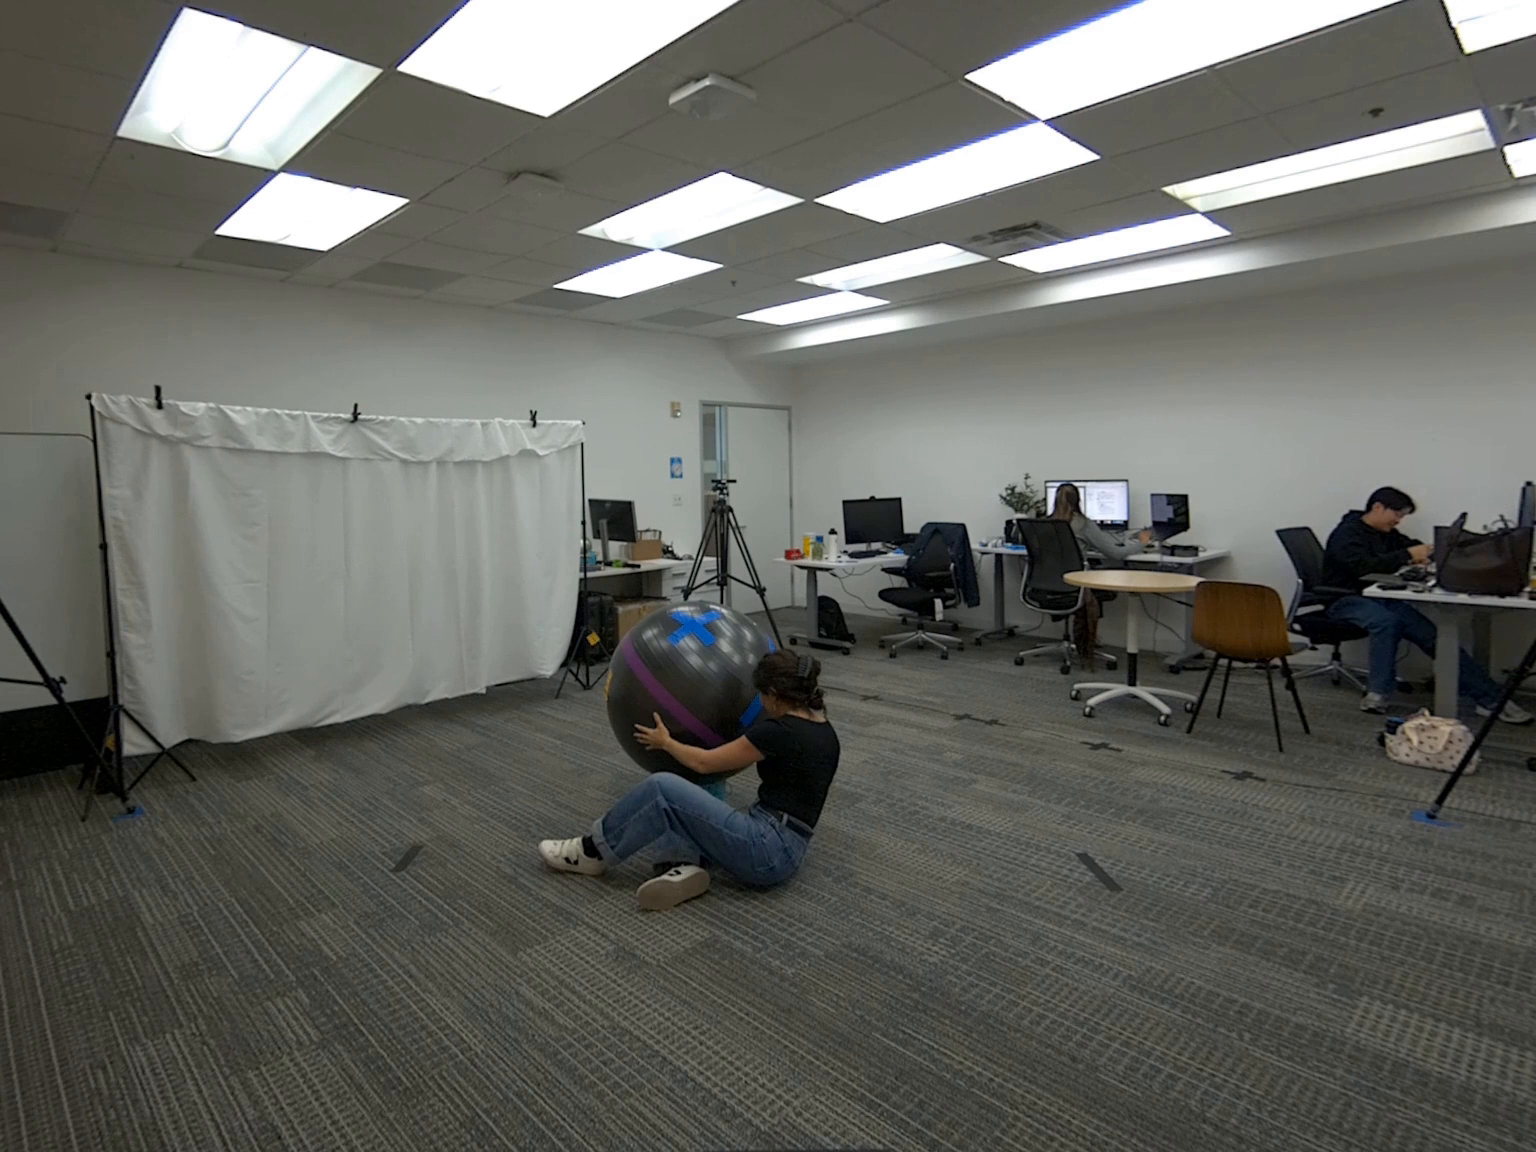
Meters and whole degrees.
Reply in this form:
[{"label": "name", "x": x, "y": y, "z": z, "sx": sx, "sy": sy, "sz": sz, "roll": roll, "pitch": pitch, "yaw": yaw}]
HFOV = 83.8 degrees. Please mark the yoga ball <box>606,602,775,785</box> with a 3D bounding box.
[{"label": "yoga ball", "x": -0.311, "y": 0.488, "z": 3.605, "sx": 0.757, "sy": 0.755, "sz": 0.762, "roll": -1, "pitch": 5, "yaw": -2}]
